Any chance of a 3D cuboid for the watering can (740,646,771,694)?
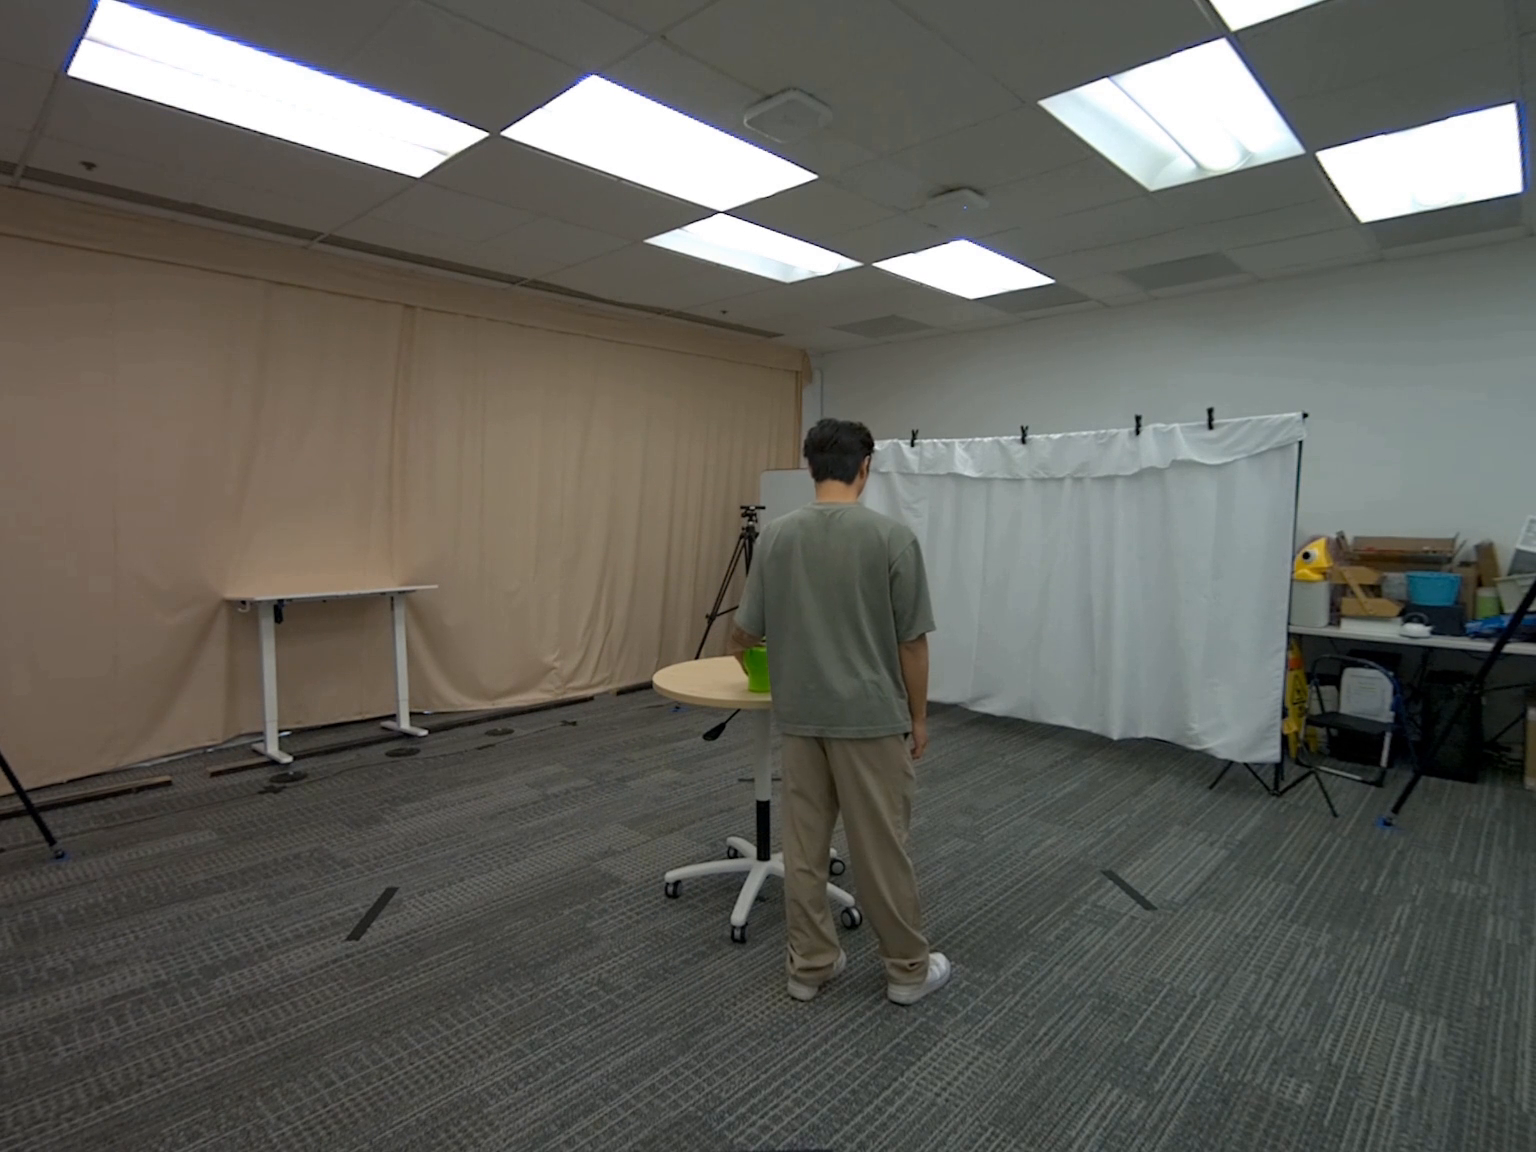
[{"bbox_3d":[0.038,0.278,2.743,0.271,0.176,0.101,-4,6,-28],"label":"watering can"}]
